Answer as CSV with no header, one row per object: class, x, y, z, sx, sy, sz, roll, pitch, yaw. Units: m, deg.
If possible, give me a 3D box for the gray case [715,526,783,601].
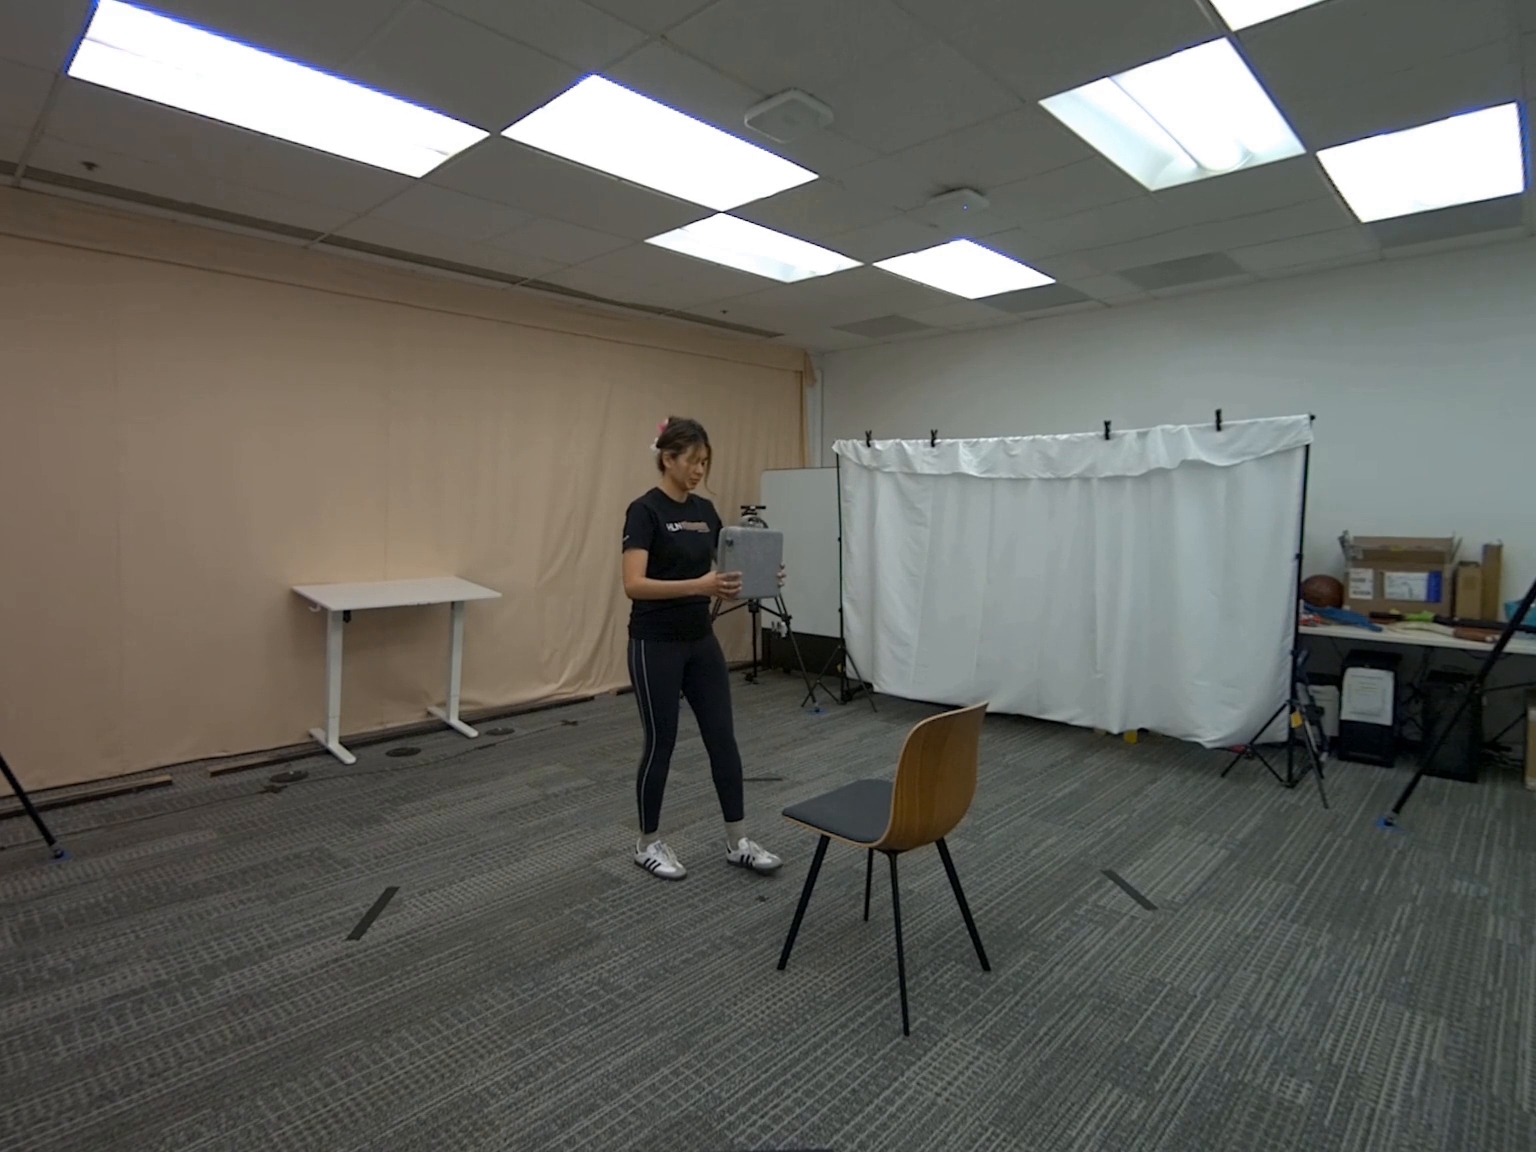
gray case,-0.055,-0.052,2.960,0.108,0.260,0.249,5,4,42
